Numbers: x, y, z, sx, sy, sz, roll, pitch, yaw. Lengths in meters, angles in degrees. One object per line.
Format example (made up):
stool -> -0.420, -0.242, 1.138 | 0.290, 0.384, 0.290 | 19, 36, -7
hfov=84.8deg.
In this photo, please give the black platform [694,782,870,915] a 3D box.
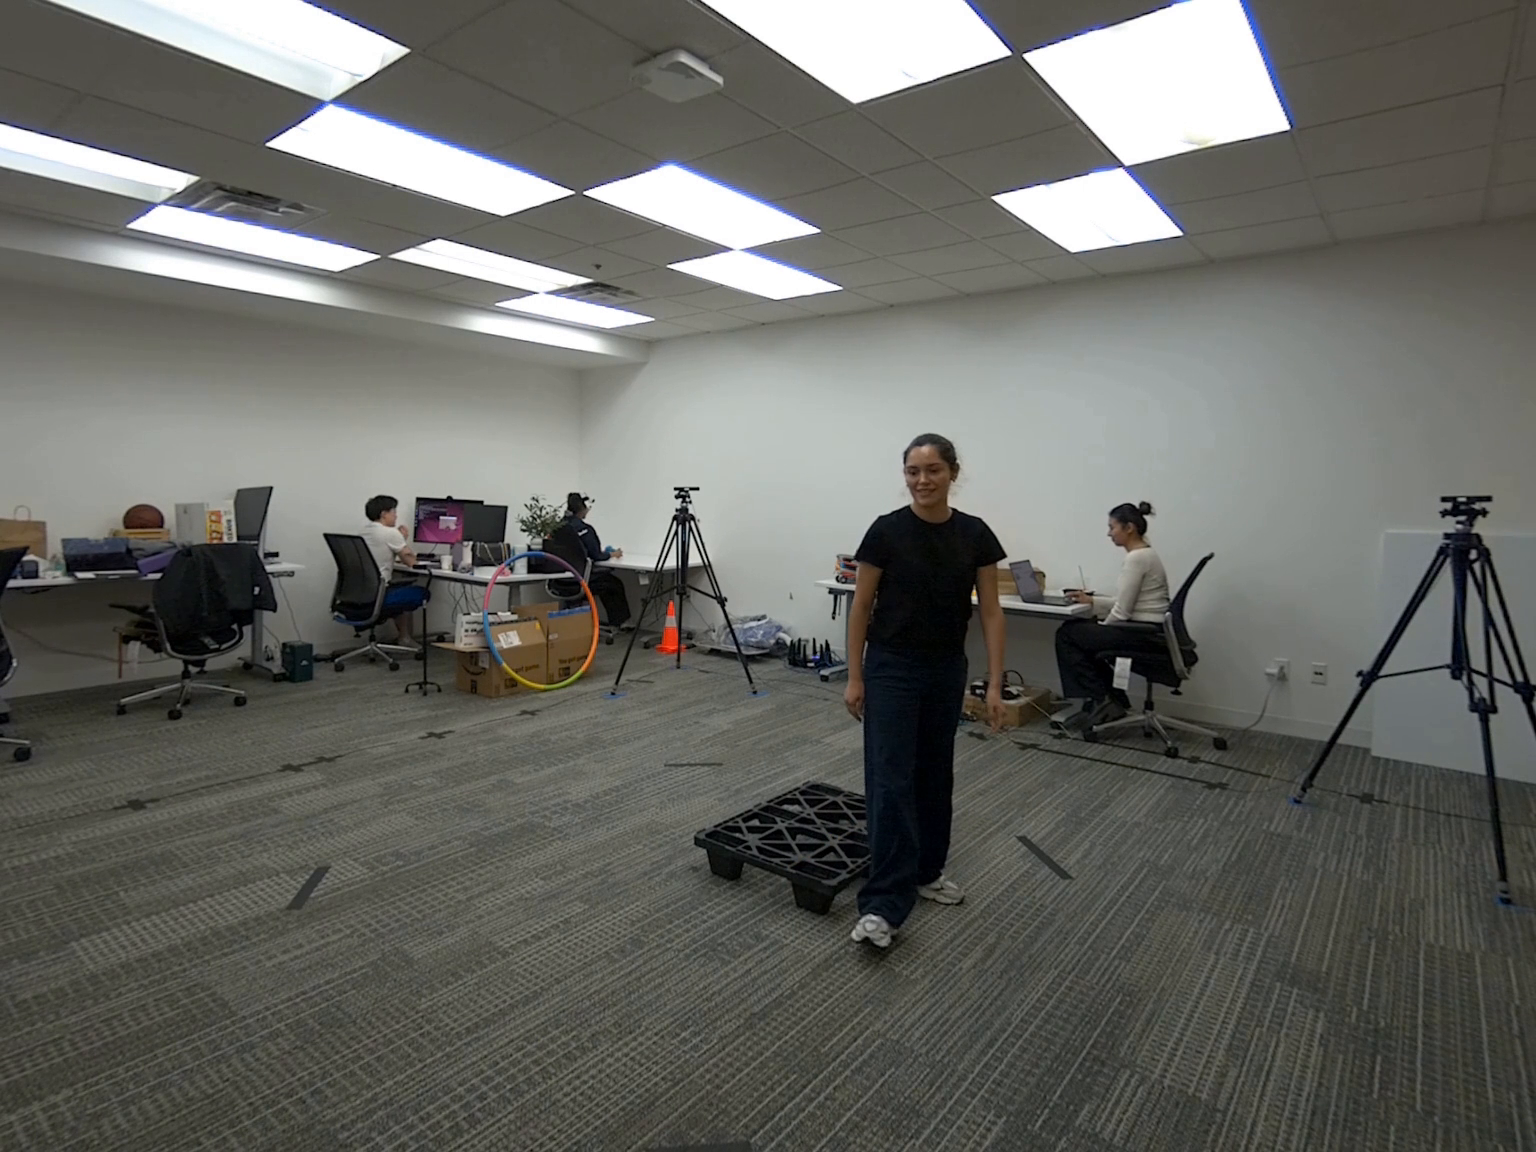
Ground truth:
black platform -> 0.204, 0.997, 3.212 | 0.625, 0.143, 0.782 | 5, 6, 38
